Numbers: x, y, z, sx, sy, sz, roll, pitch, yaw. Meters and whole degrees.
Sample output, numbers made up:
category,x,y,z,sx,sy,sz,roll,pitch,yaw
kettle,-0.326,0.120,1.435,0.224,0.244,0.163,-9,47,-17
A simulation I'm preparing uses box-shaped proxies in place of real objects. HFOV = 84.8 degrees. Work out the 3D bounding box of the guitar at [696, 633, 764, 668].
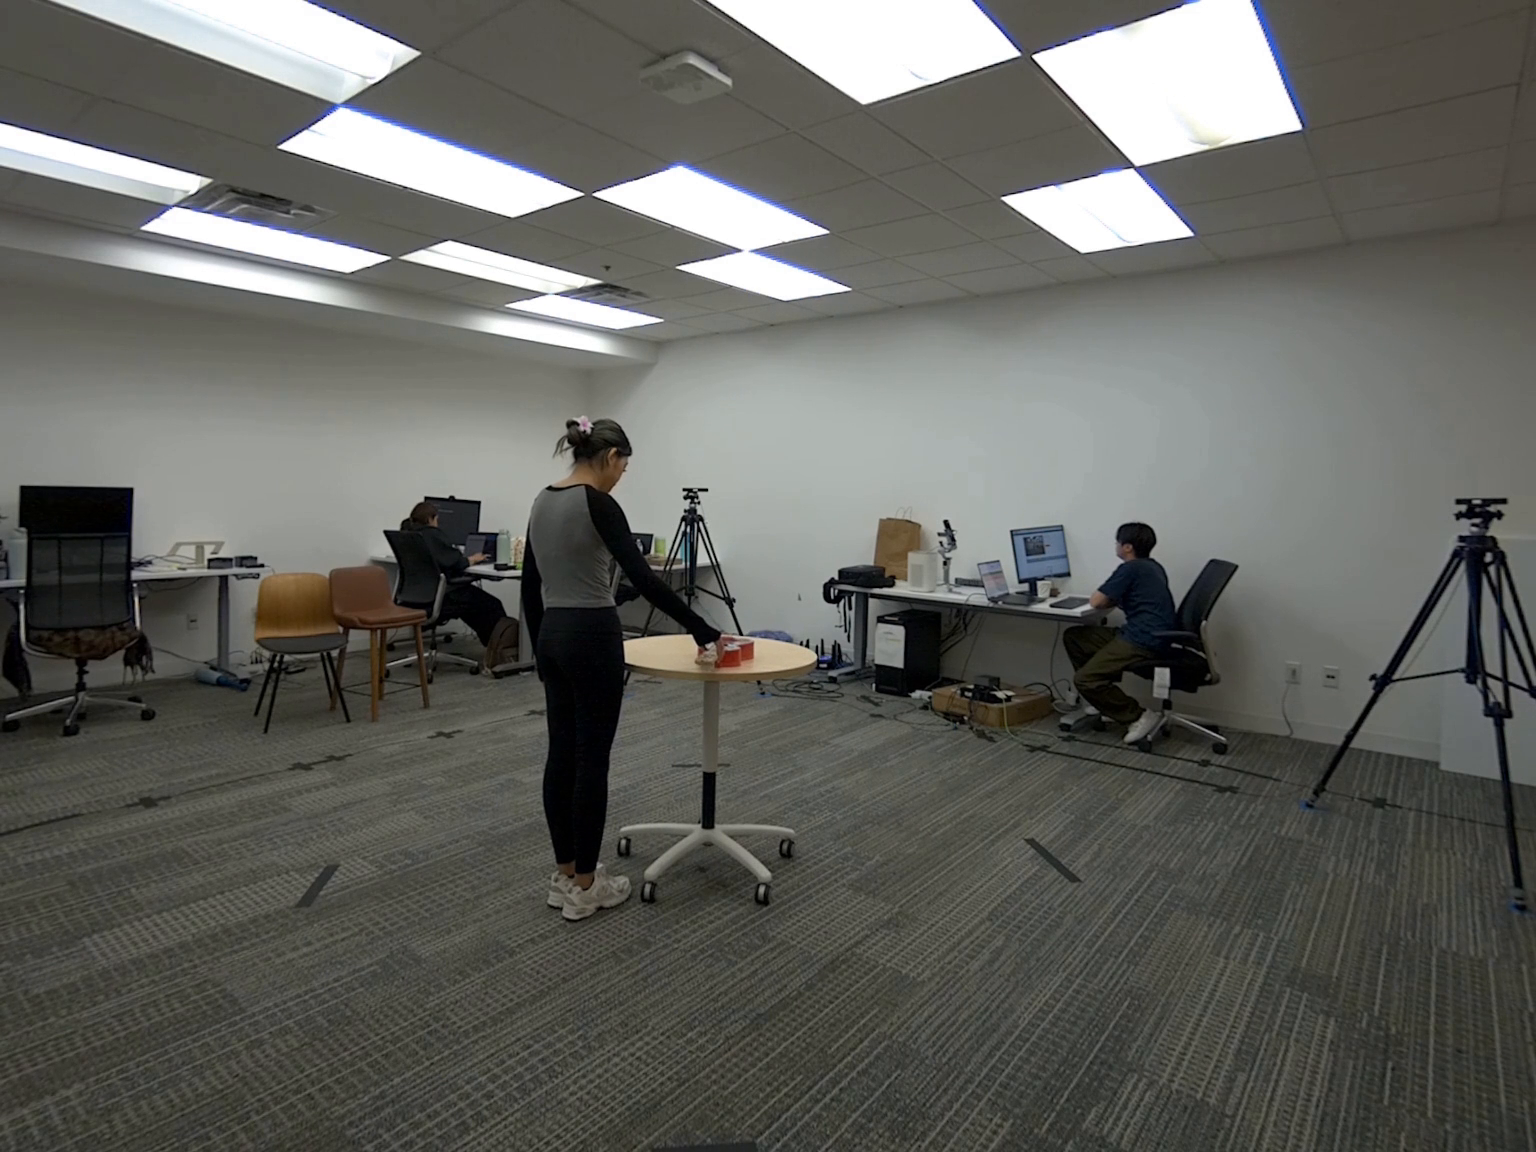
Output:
category,x,y,z,sx,sy,sz,roll,pitch,yaw
guitar,-0.210,0.269,2.859,0.197,0.070,0.490,5,6,16
